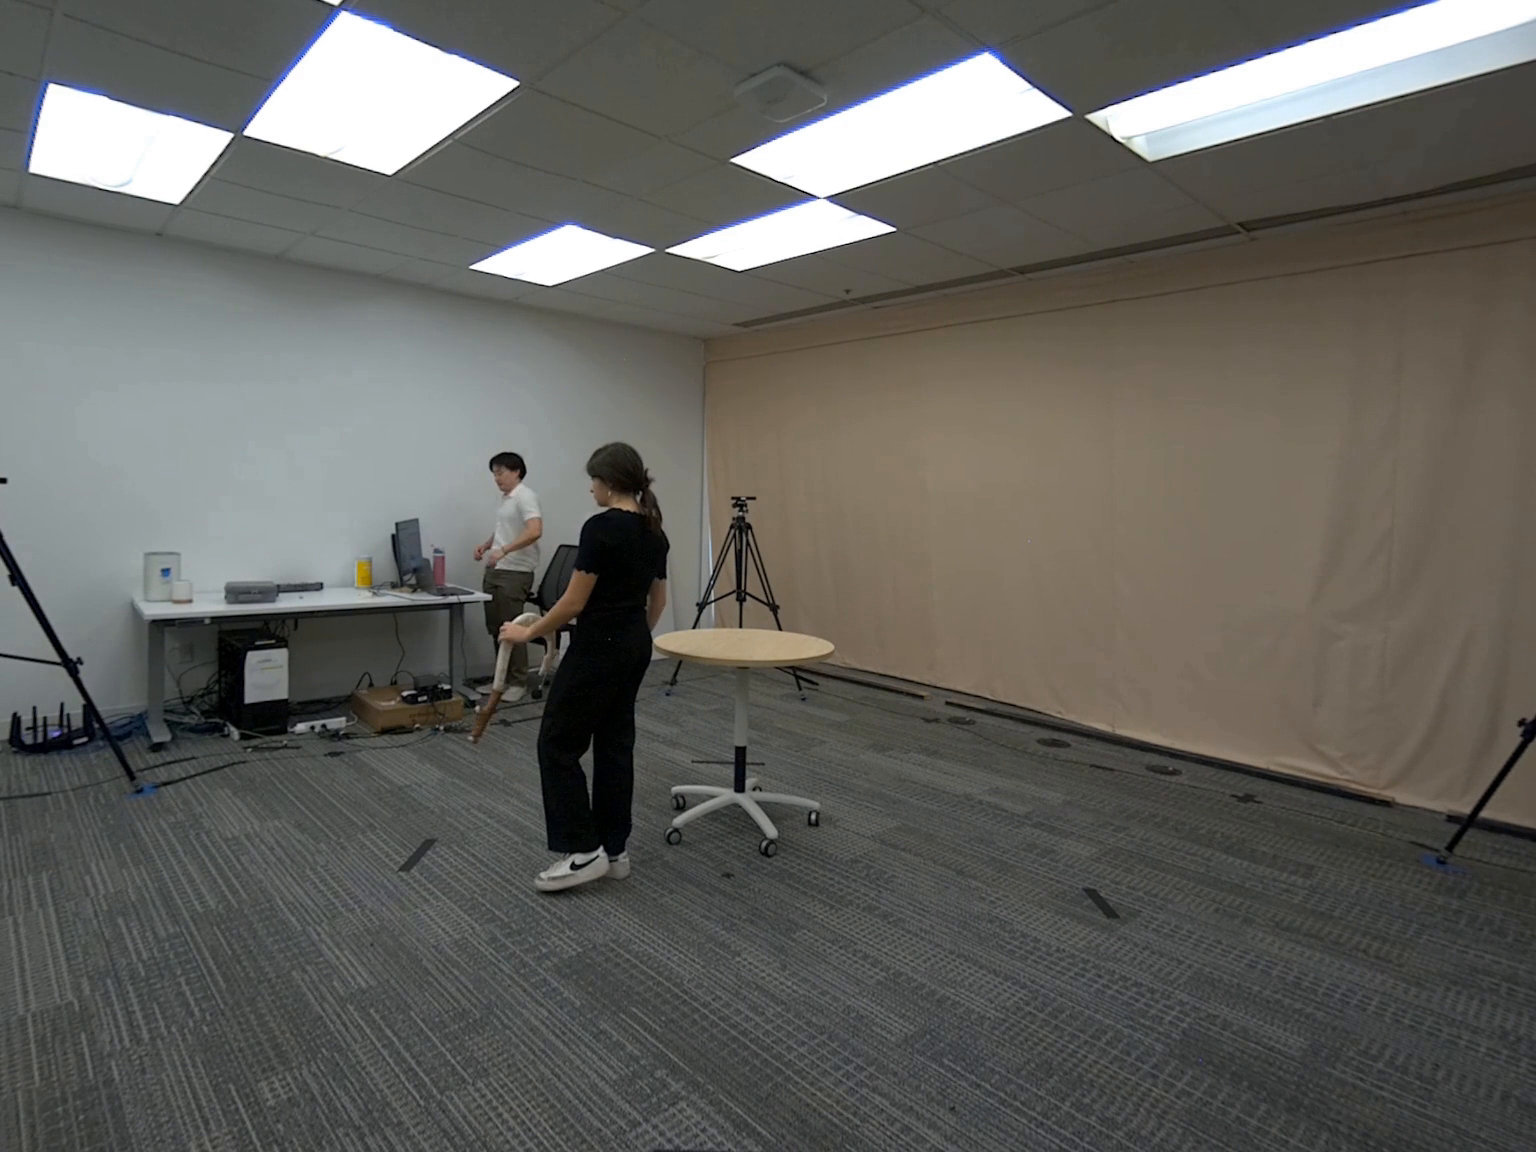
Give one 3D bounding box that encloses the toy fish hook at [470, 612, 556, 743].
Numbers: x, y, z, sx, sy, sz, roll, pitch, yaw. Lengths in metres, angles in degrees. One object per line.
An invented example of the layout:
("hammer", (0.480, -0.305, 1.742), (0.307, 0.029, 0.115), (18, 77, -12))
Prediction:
("toy fish hook", (-0.922, 0.365, 3.063), (0.218, 0.510, 0.049), (30, -20, -29))
